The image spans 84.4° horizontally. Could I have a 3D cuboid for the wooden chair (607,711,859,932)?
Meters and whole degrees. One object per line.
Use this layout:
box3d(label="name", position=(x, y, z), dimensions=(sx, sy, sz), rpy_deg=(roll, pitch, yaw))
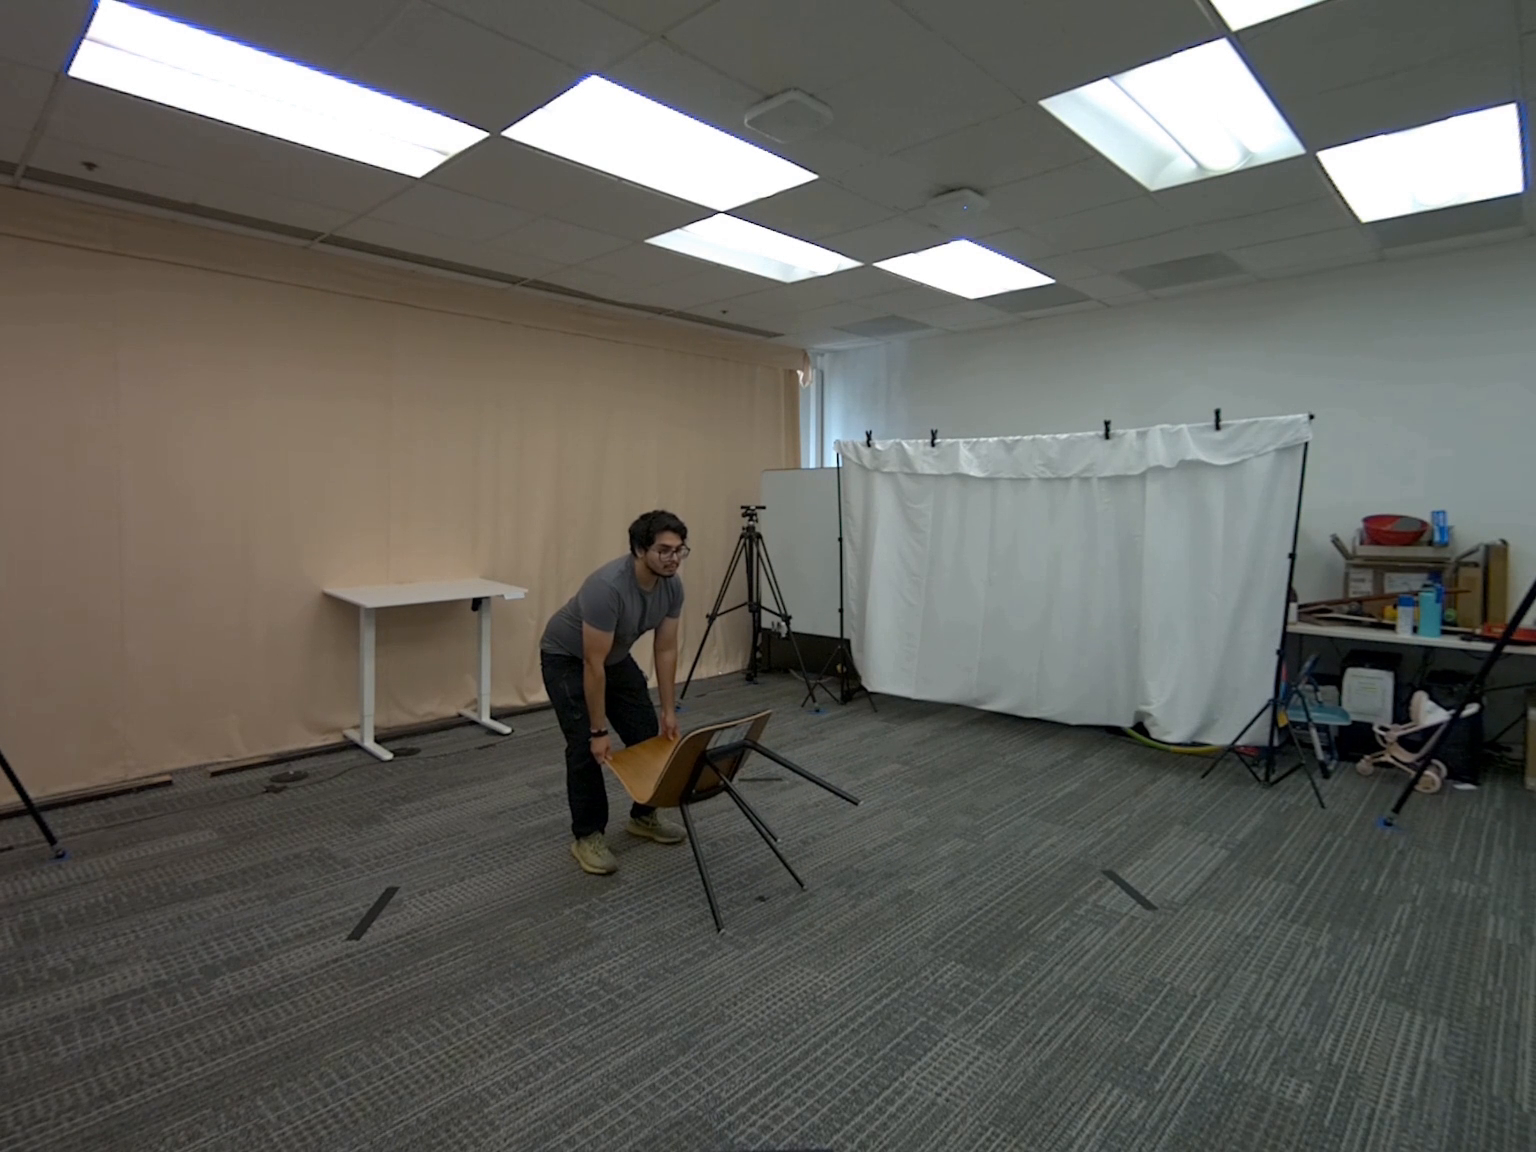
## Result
box3d(label="wooden chair", position=(-0.184, 0.712, 3.029), dimensions=(0.463, 0.521, 0.908), rpy_deg=(-5, 34, -48))
